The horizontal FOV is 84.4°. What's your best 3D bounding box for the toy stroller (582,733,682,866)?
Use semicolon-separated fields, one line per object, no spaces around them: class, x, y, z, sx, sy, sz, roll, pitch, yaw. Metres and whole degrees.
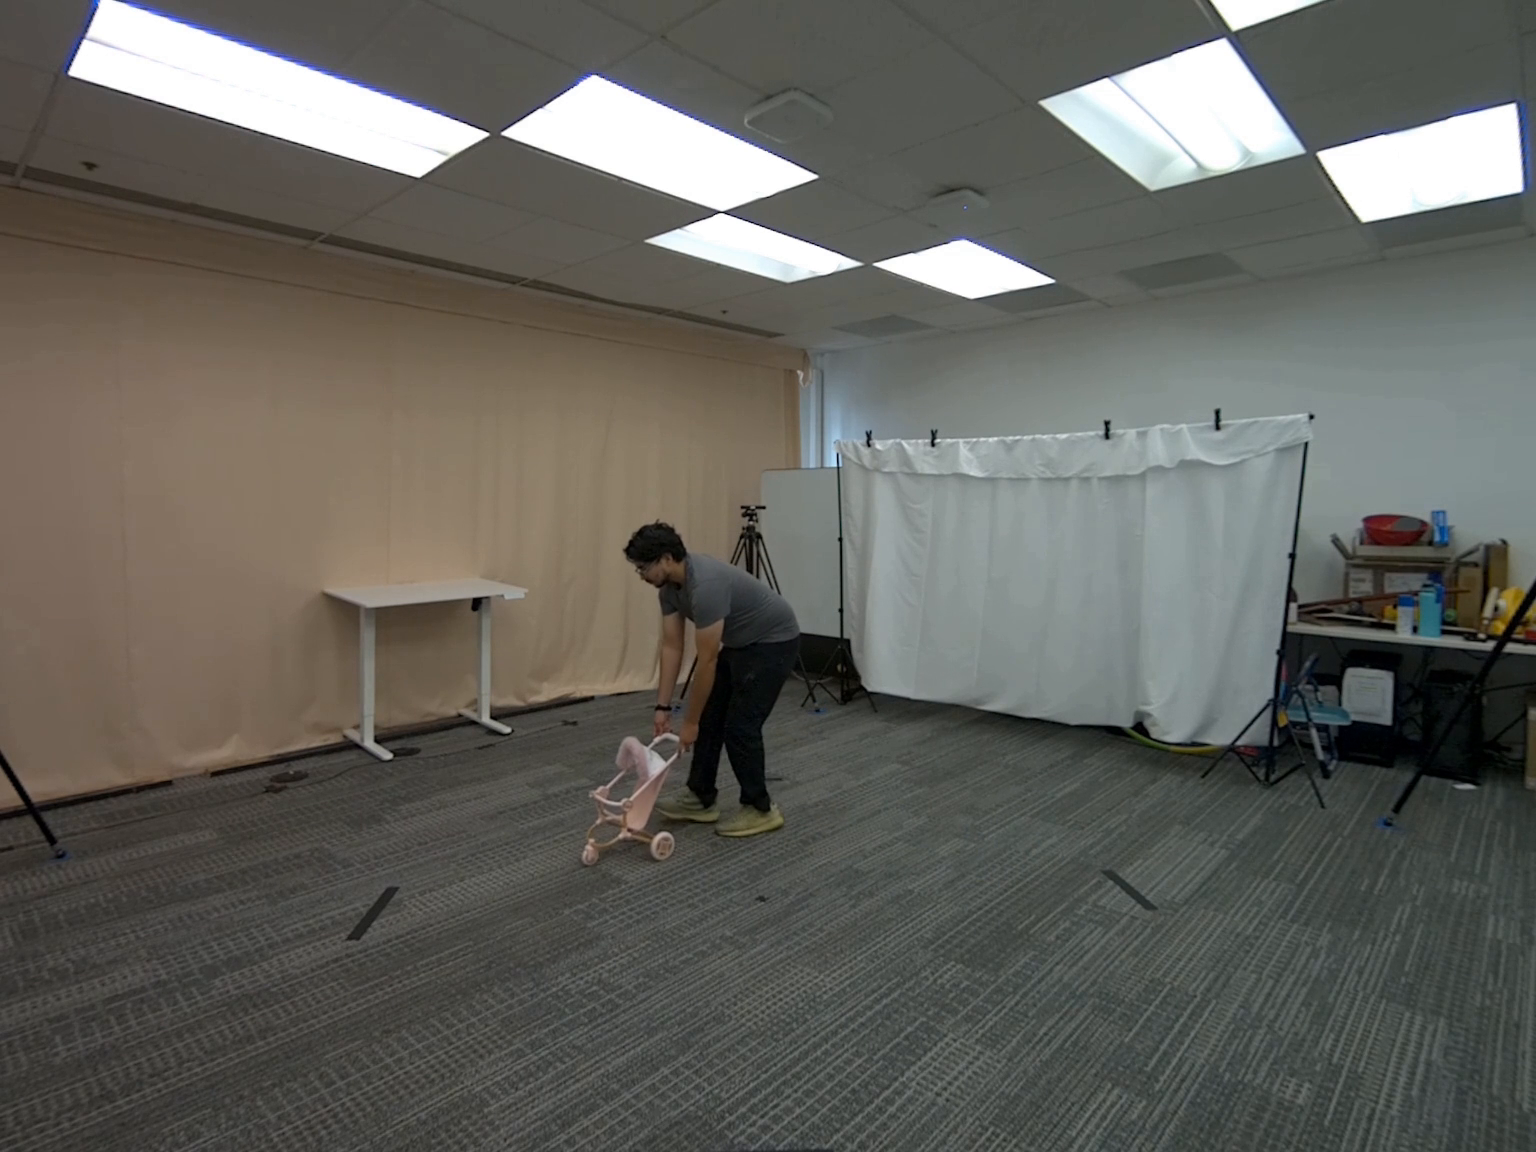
toy stroller;-0.547;0.888;3.374;0.330;0.536;0.290;15;-6;-32
